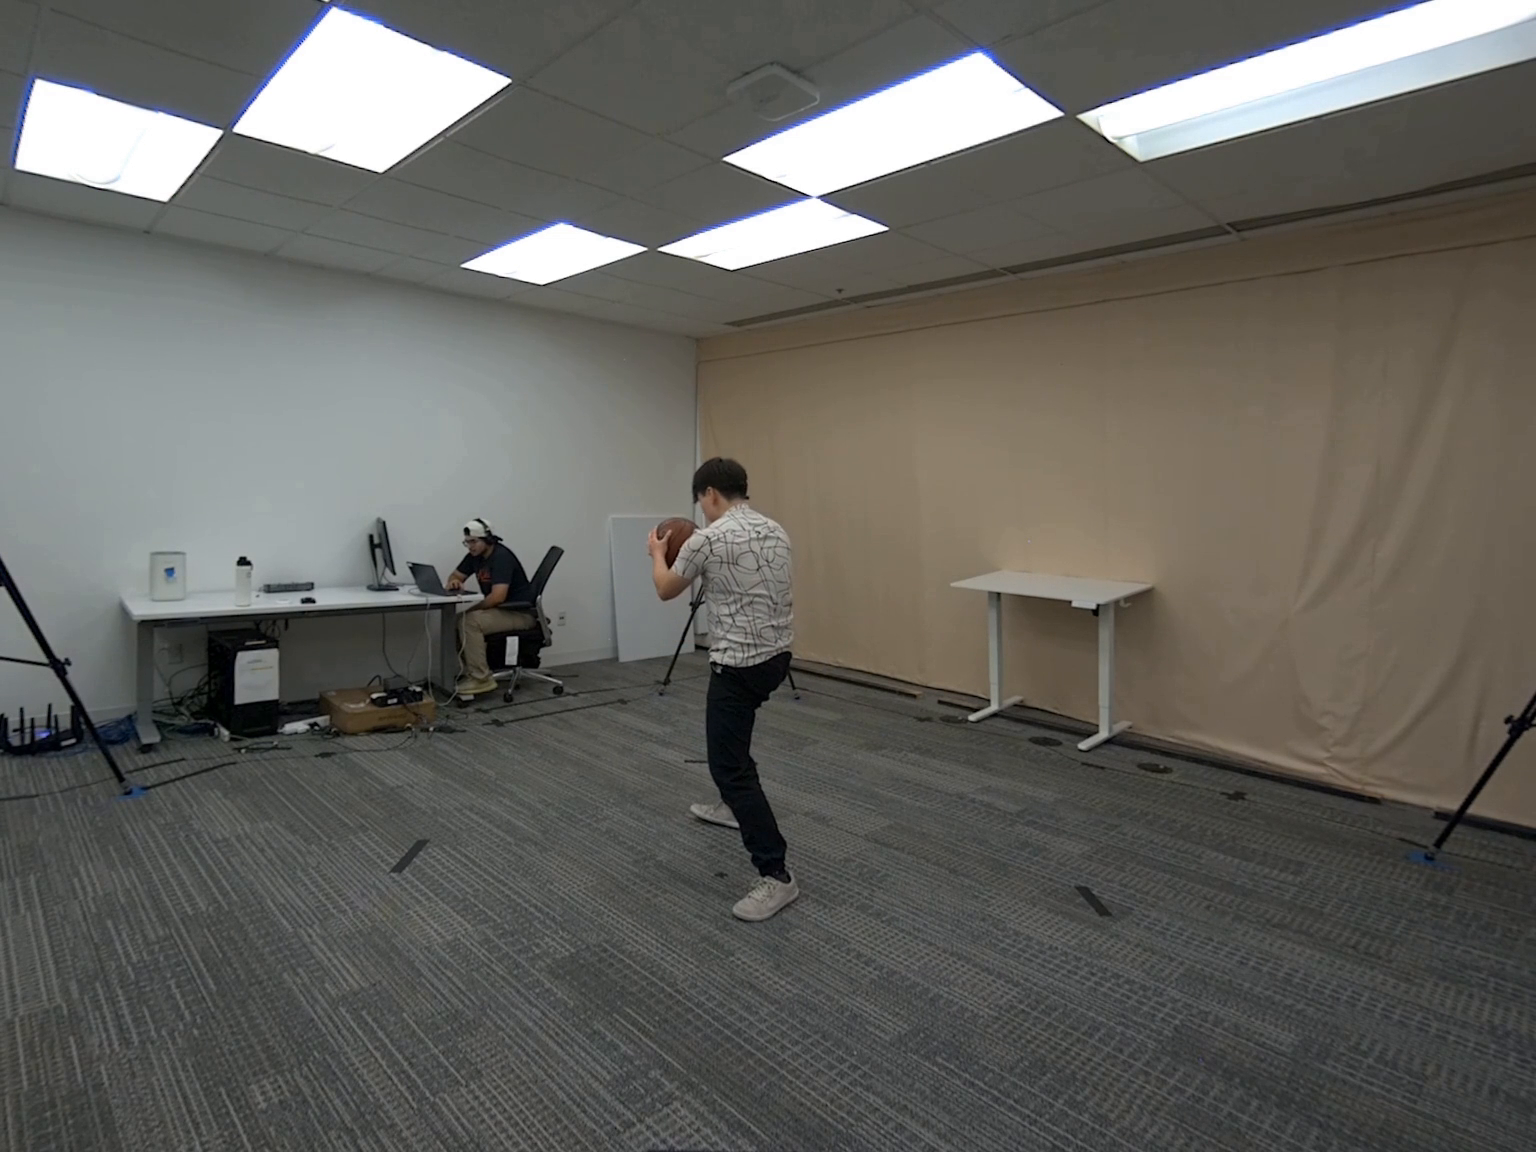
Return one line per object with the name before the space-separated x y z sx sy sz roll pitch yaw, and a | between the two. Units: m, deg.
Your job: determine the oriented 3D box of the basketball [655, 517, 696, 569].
basketball | -0.404 -0.125 3.600 0.236 0.235 0.237 1 4 -1
